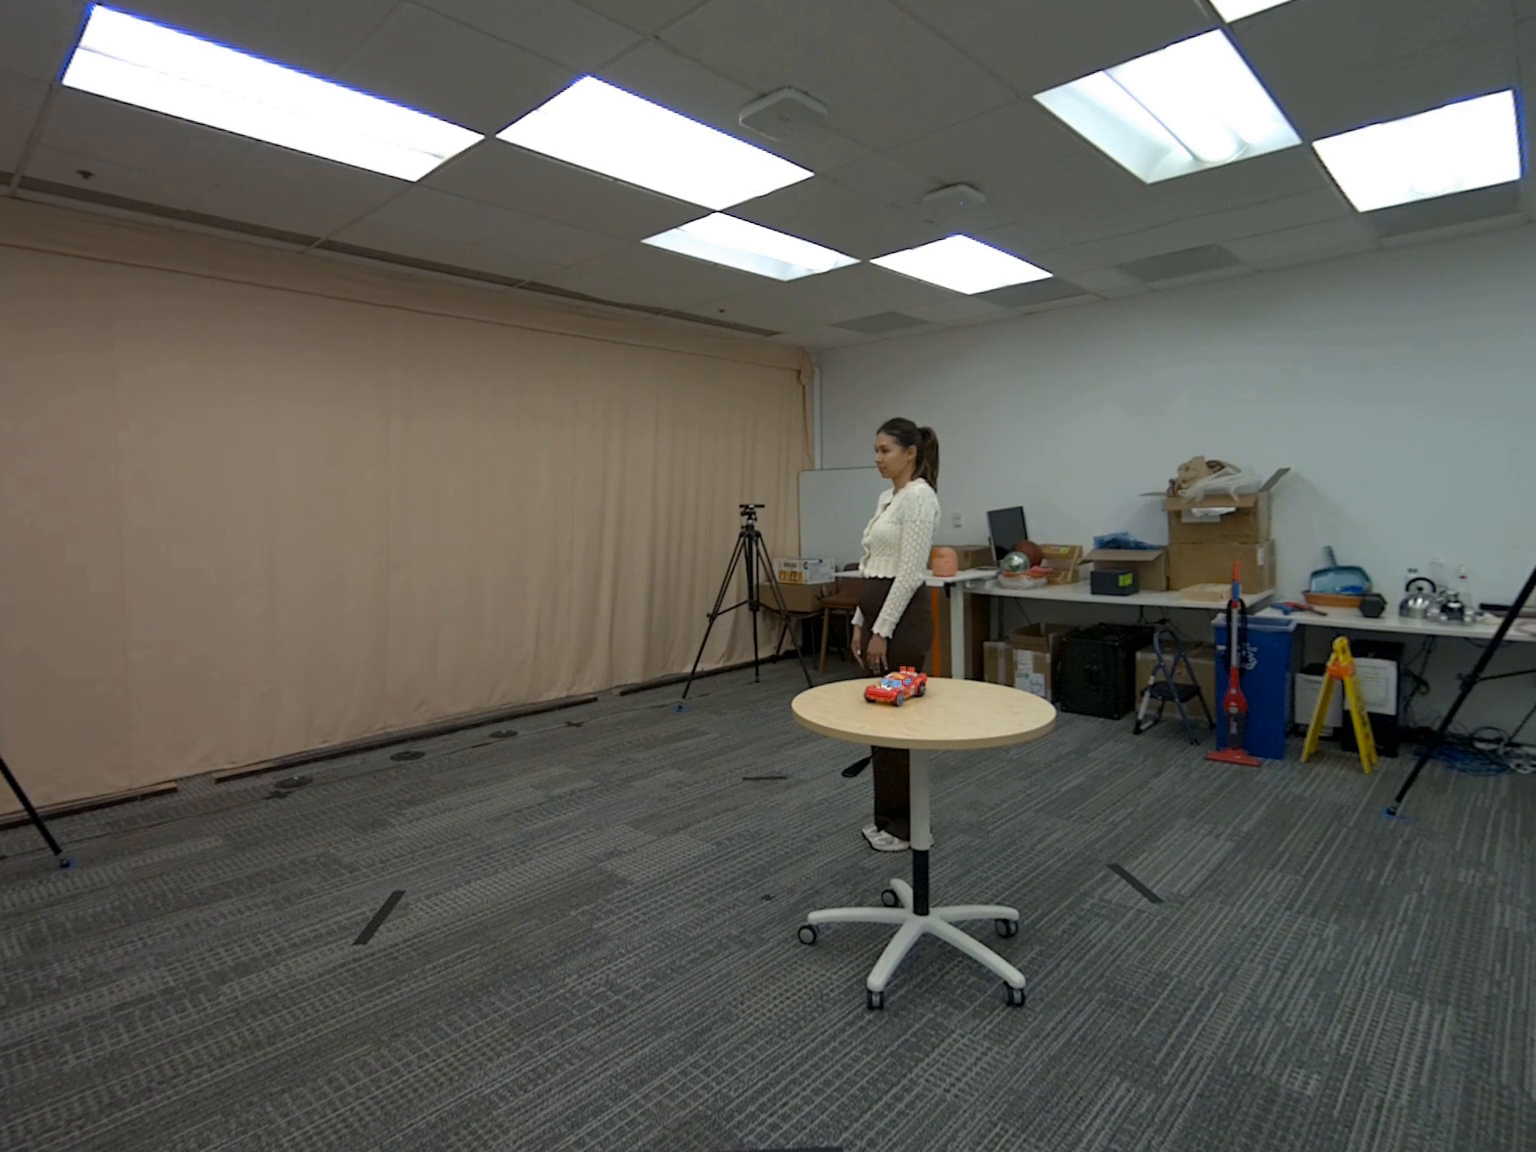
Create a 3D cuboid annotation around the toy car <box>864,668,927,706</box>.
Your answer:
[{"bbox_3d":[0.417,0.351,2.608,0.134,0.082,0.249,3,18,38],"label":"toy car"}]
